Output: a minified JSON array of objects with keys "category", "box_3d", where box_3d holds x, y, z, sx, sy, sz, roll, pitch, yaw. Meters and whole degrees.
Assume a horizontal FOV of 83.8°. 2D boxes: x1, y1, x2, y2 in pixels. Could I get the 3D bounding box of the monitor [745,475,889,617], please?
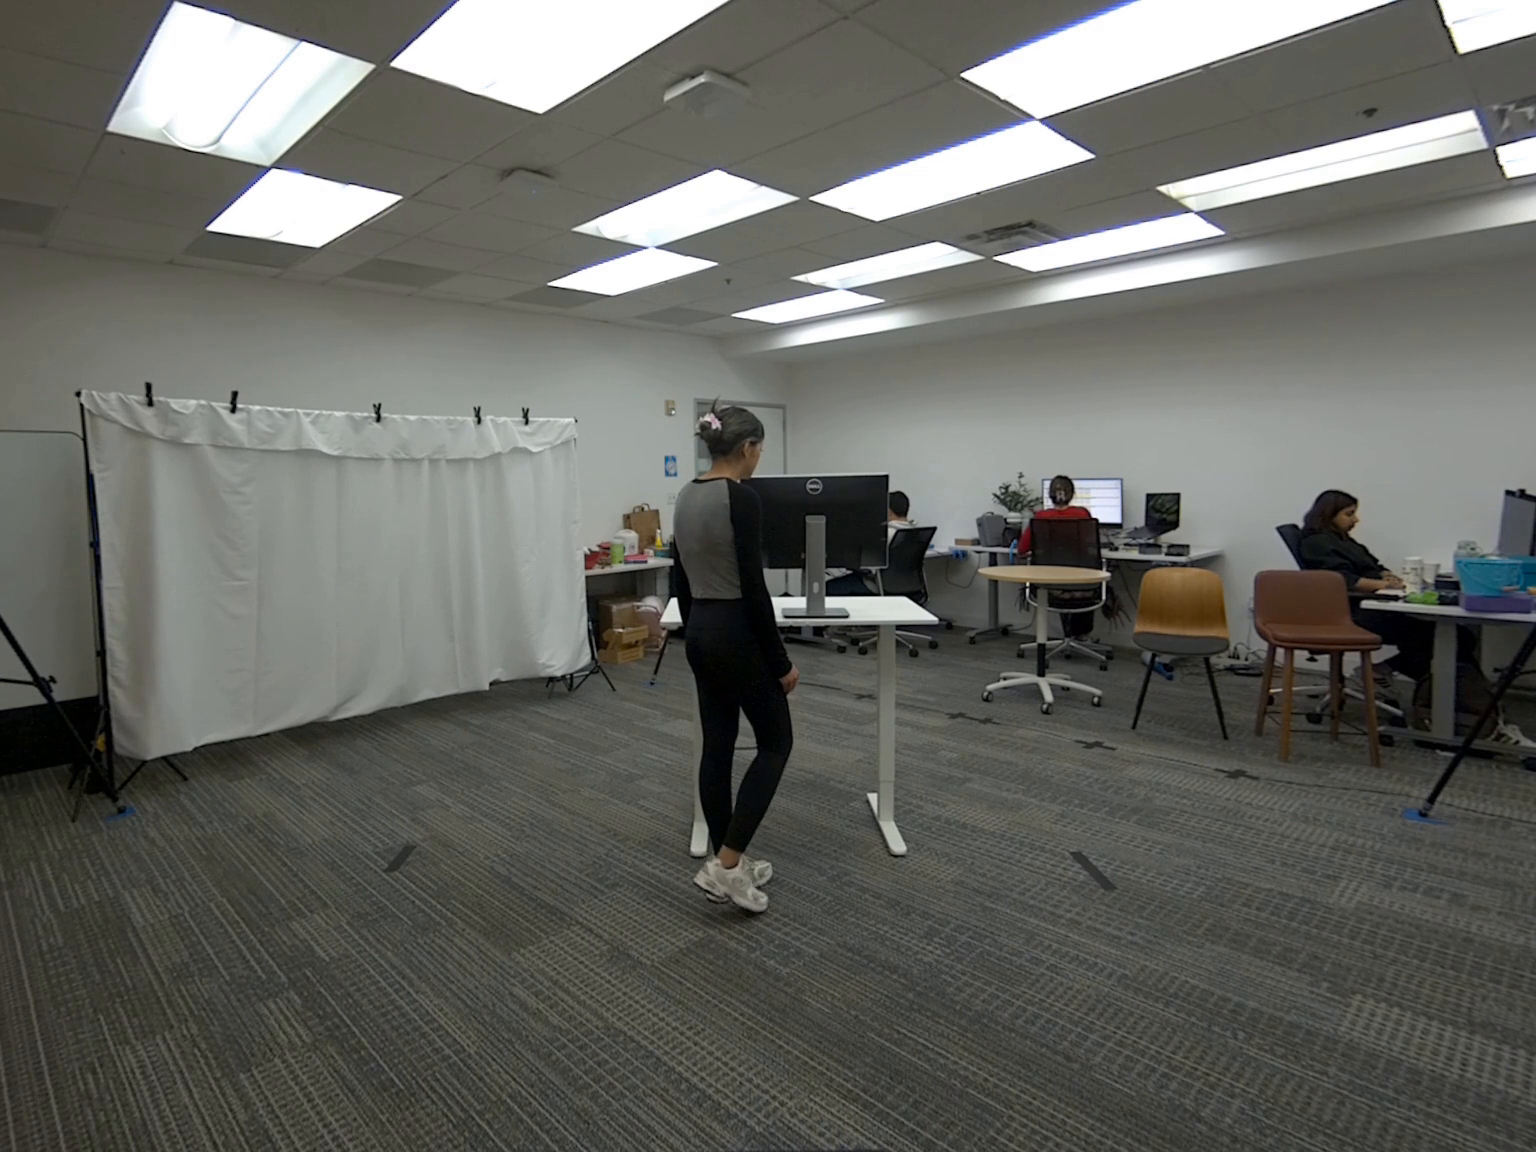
[{"category":"monitor","box_3d":[0.170,-0.112,3.195,0.539,0.522,0.187,0,2,1]}]
